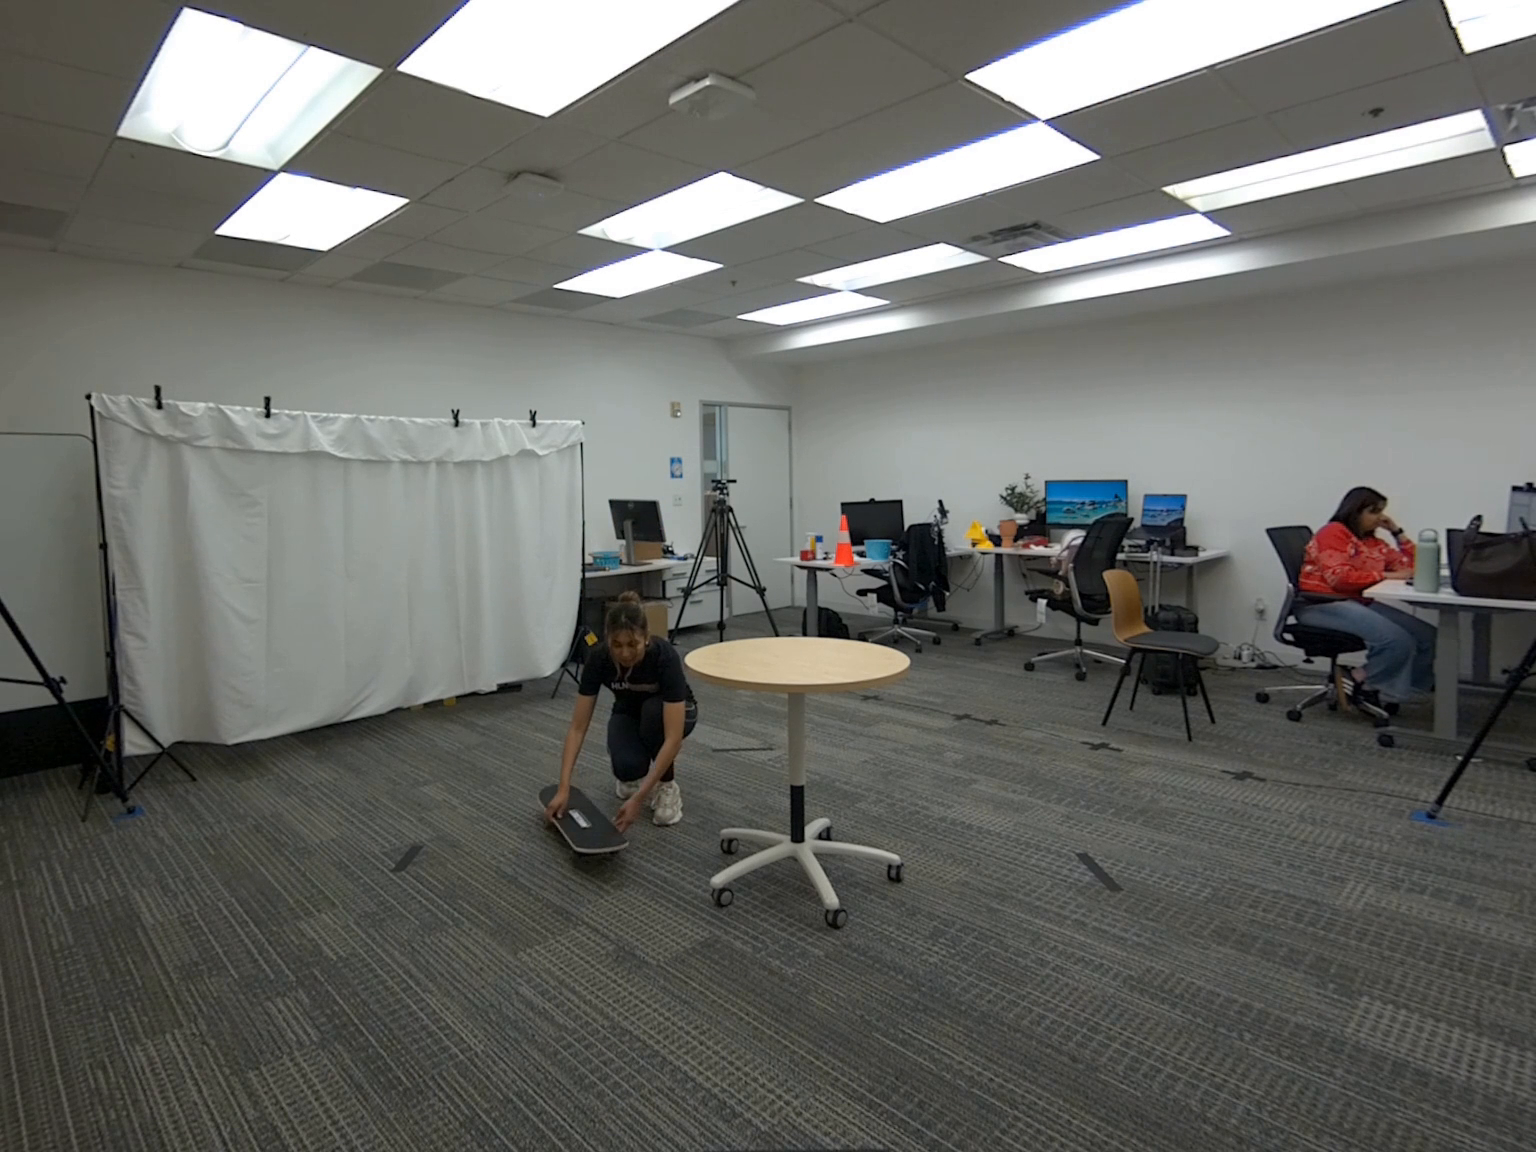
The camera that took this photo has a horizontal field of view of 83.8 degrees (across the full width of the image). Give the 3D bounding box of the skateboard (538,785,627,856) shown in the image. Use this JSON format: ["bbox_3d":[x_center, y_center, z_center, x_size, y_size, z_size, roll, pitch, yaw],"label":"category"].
[{"bbox_3d":[-0.727,0.975,3.319,0.189,0.110,0.805,-3,5,-27],"label":"skateboard"}]
